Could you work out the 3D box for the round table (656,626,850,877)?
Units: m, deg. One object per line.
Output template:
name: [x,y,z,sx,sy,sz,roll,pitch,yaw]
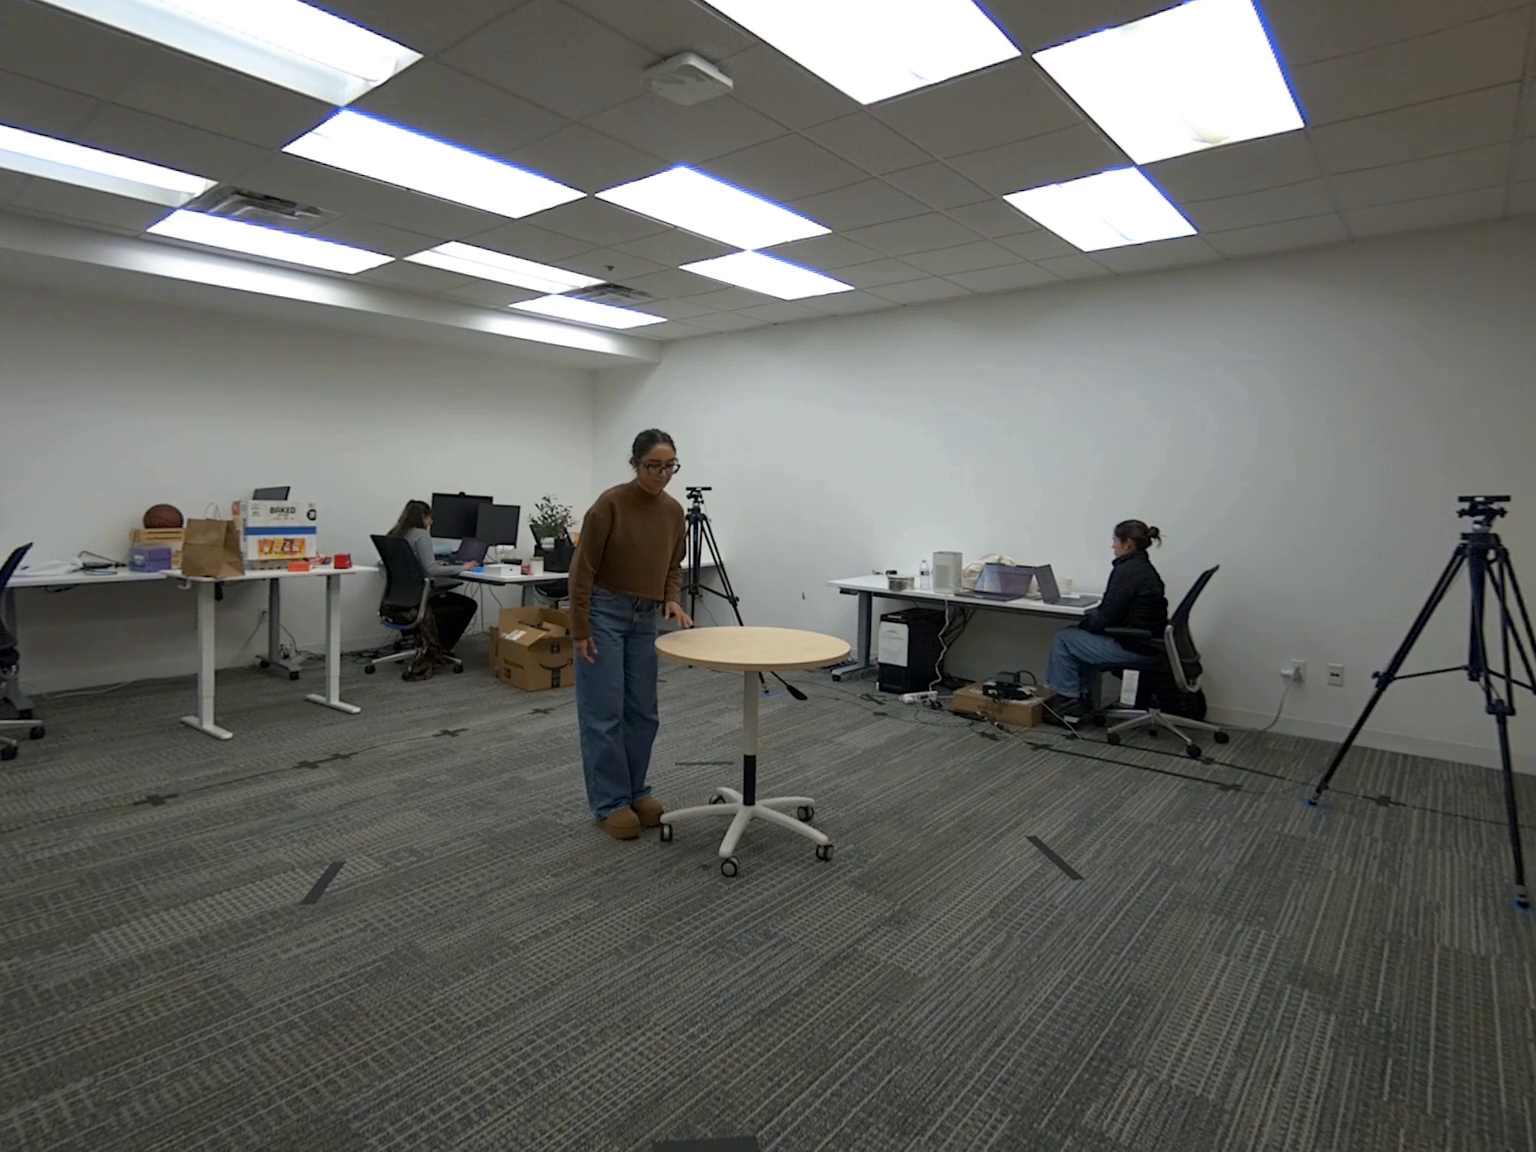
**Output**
round table: [-0.082,0.654,3.363,0.763,0.791,0.768,1,4,-2]
